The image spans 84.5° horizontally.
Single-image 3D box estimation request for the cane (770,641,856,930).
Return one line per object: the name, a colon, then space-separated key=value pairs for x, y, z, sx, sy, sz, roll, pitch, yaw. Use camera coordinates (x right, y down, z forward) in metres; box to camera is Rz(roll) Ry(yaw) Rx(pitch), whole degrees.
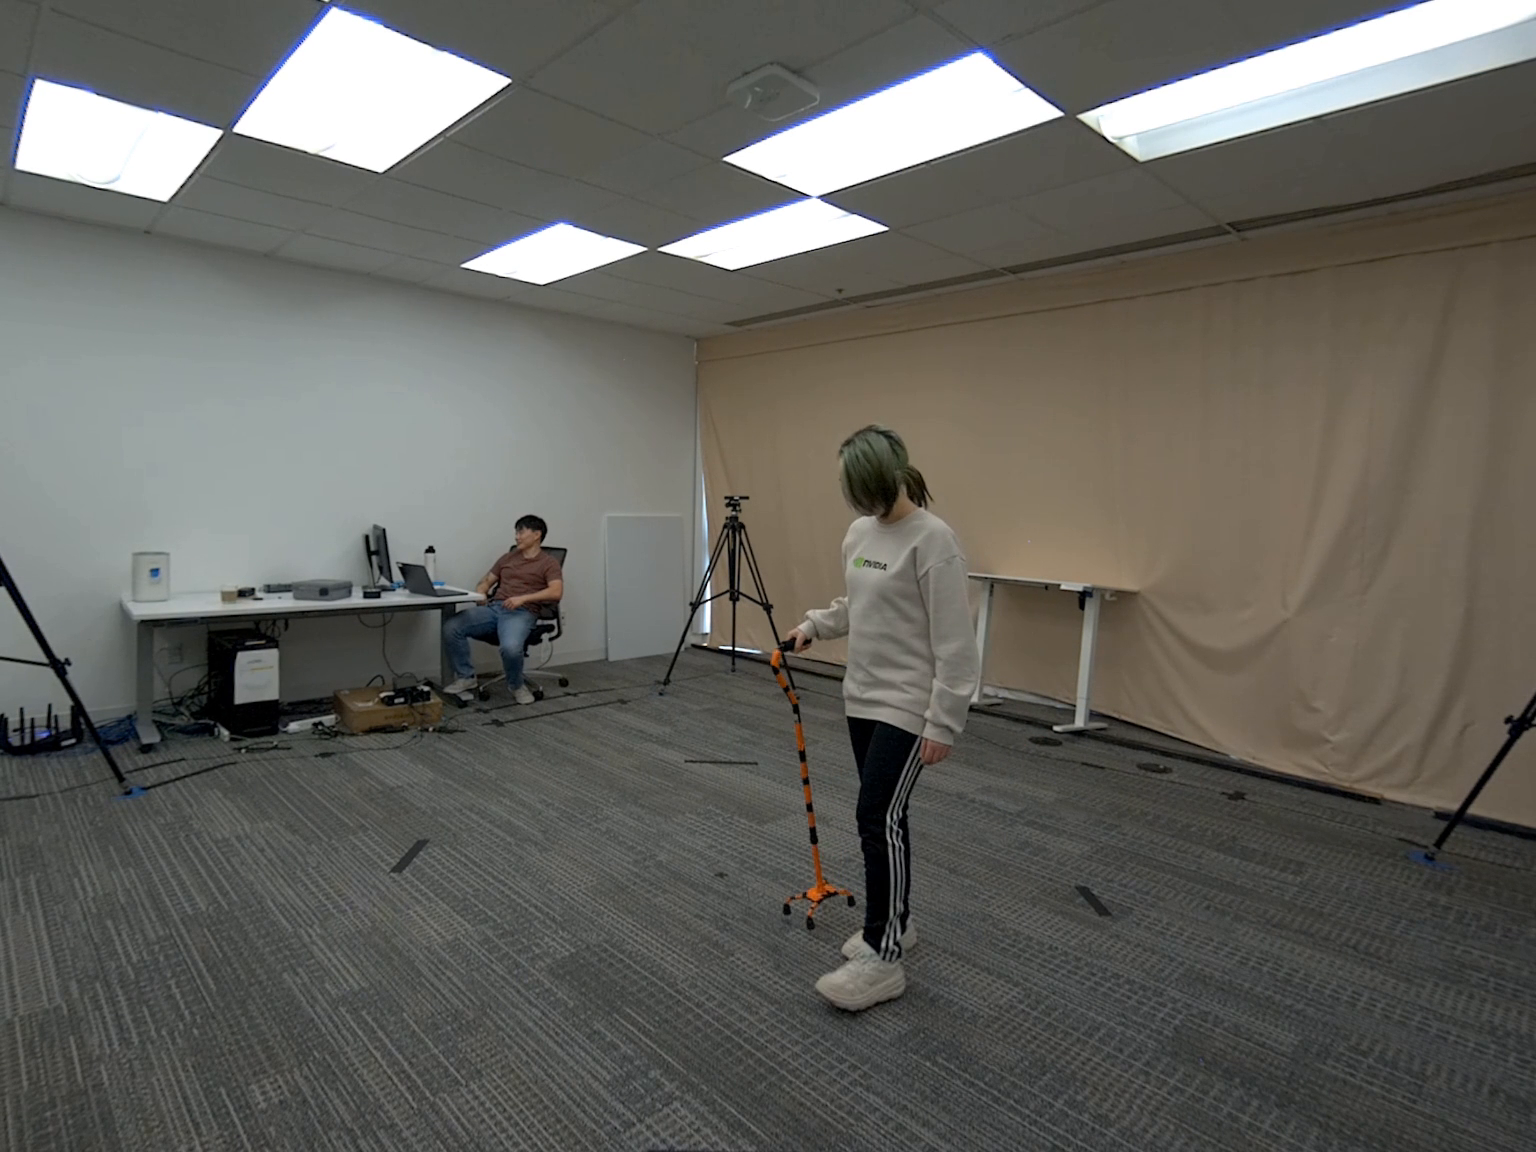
cane: x=0.090 y=0.659 z=2.728 sx=0.203 sy=0.903 sz=0.155 roll=-13 pitch=7 yaw=-37
